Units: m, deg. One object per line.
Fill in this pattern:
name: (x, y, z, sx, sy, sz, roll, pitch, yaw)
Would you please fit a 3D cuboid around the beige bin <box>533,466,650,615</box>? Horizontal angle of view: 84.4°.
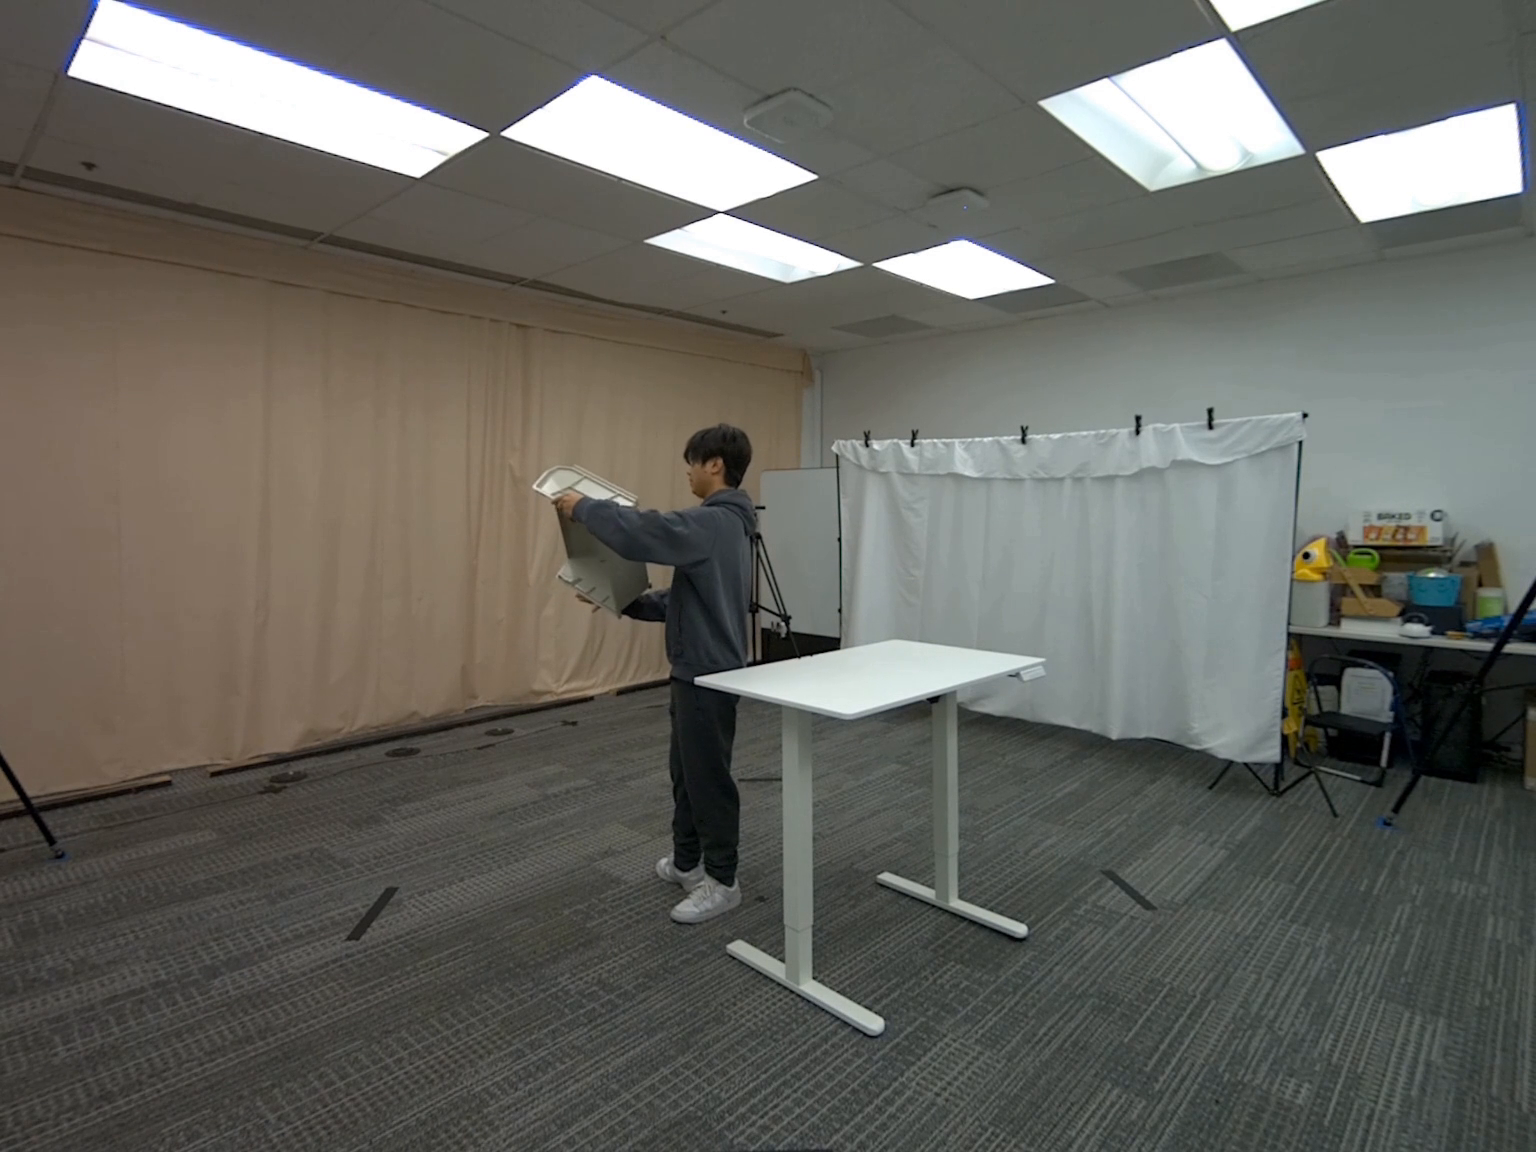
beige bin: (-0.615, -0.126, 2.928, 0.390, 0.414, 0.187, 27, 48, 30)
